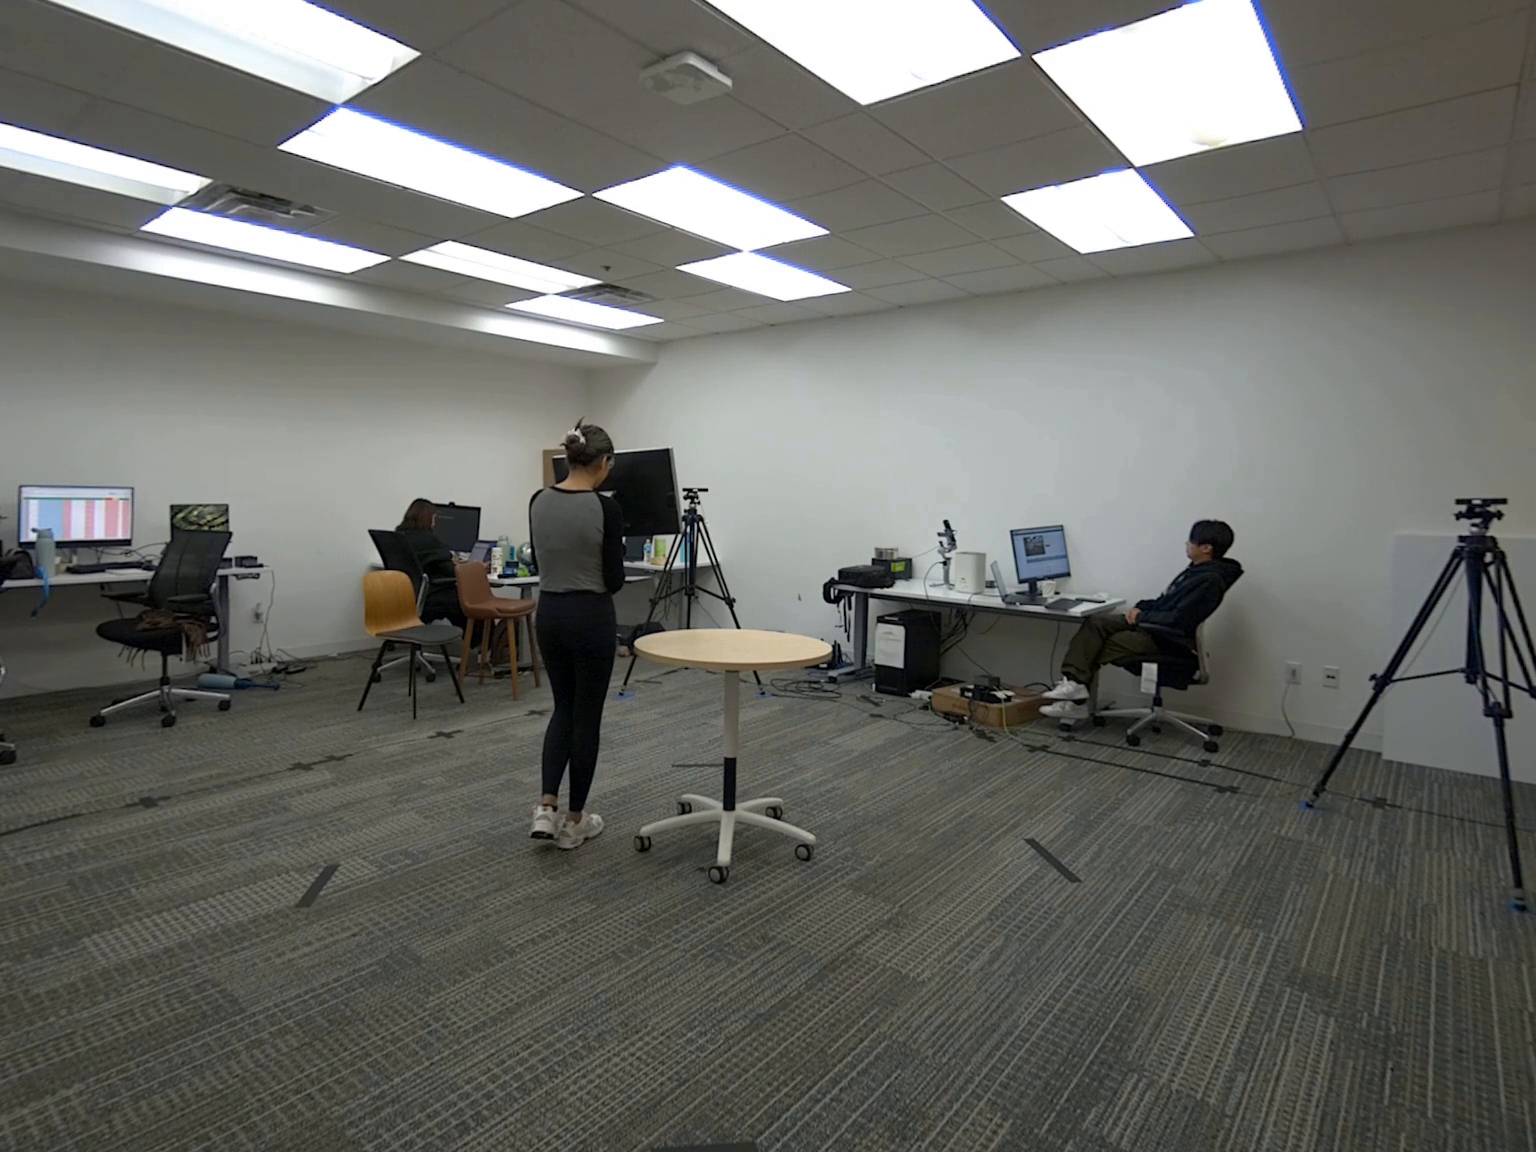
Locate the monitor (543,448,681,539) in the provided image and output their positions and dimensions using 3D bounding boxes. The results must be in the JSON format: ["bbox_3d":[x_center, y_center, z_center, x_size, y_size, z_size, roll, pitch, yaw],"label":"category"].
[{"bbox_3d":[-0.655,-0.251,3.538,0.549,0.522,0.184,-2,2,18],"label":"monitor"}]
